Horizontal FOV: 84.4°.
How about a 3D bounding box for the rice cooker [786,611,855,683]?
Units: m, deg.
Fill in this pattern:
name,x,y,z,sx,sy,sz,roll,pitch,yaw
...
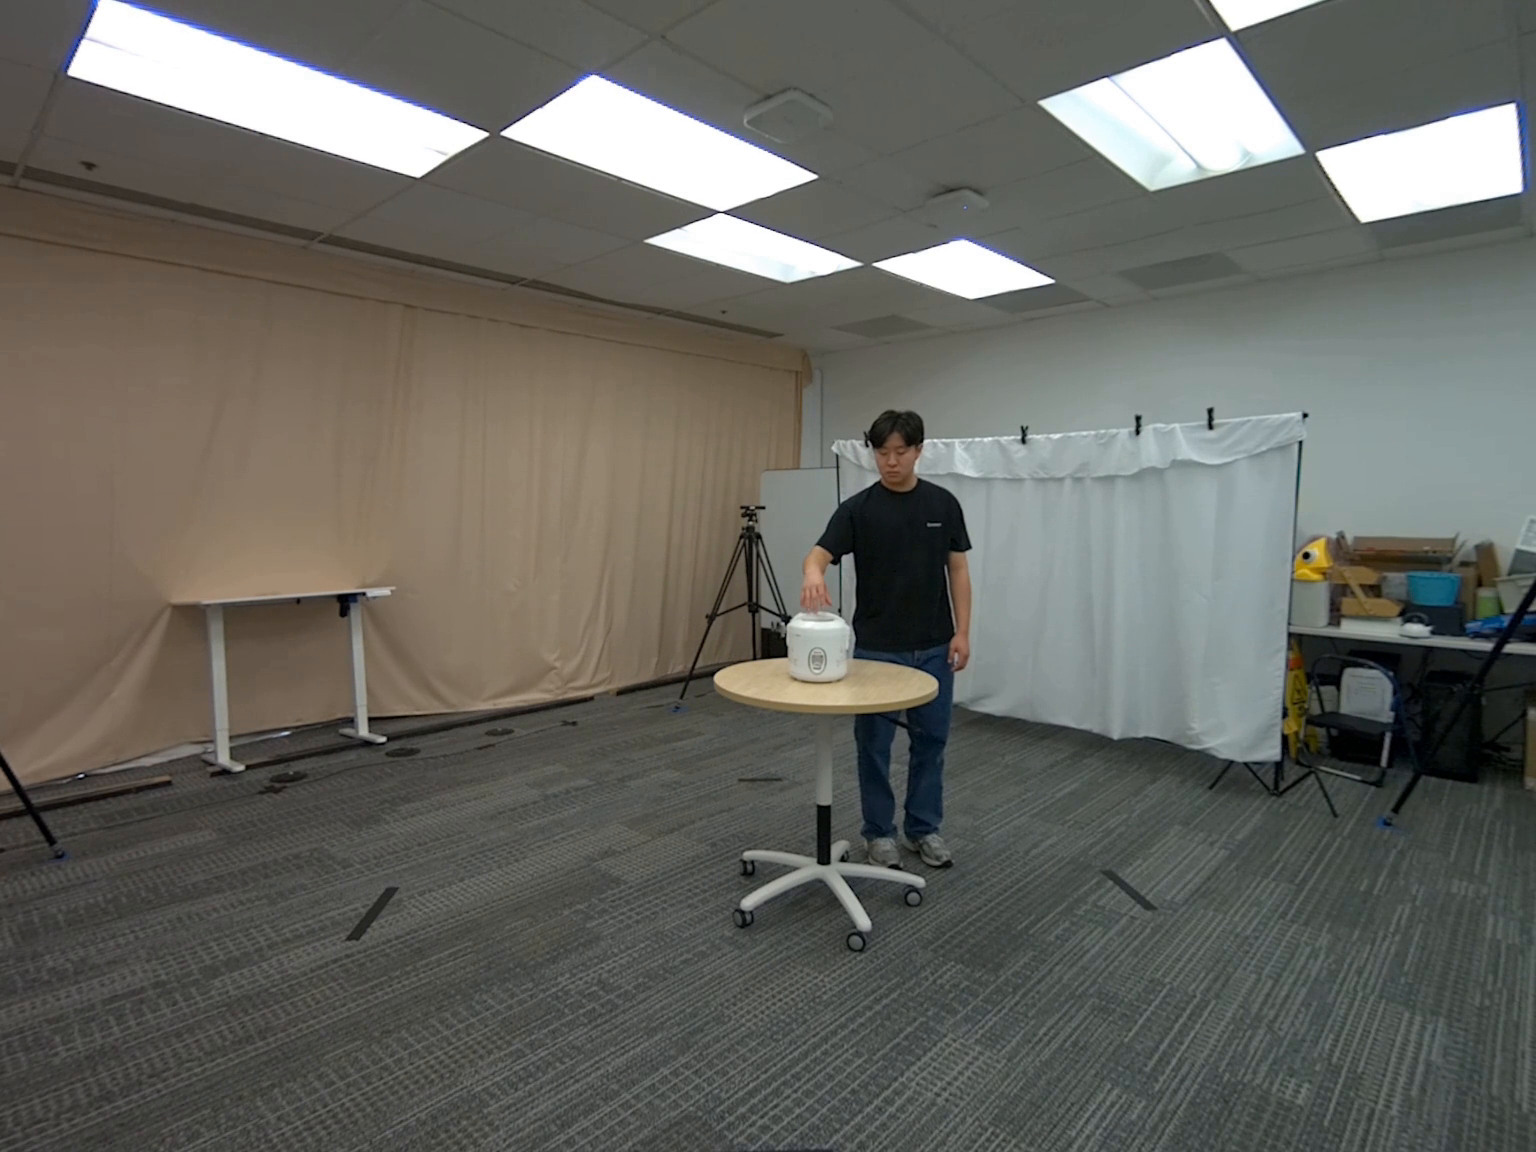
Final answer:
name,x,y,z,sx,sy,sz,roll,pitch,yaw
rice cooker,0.178,0.237,2.911,0.222,0.232,0.216,1,3,5
